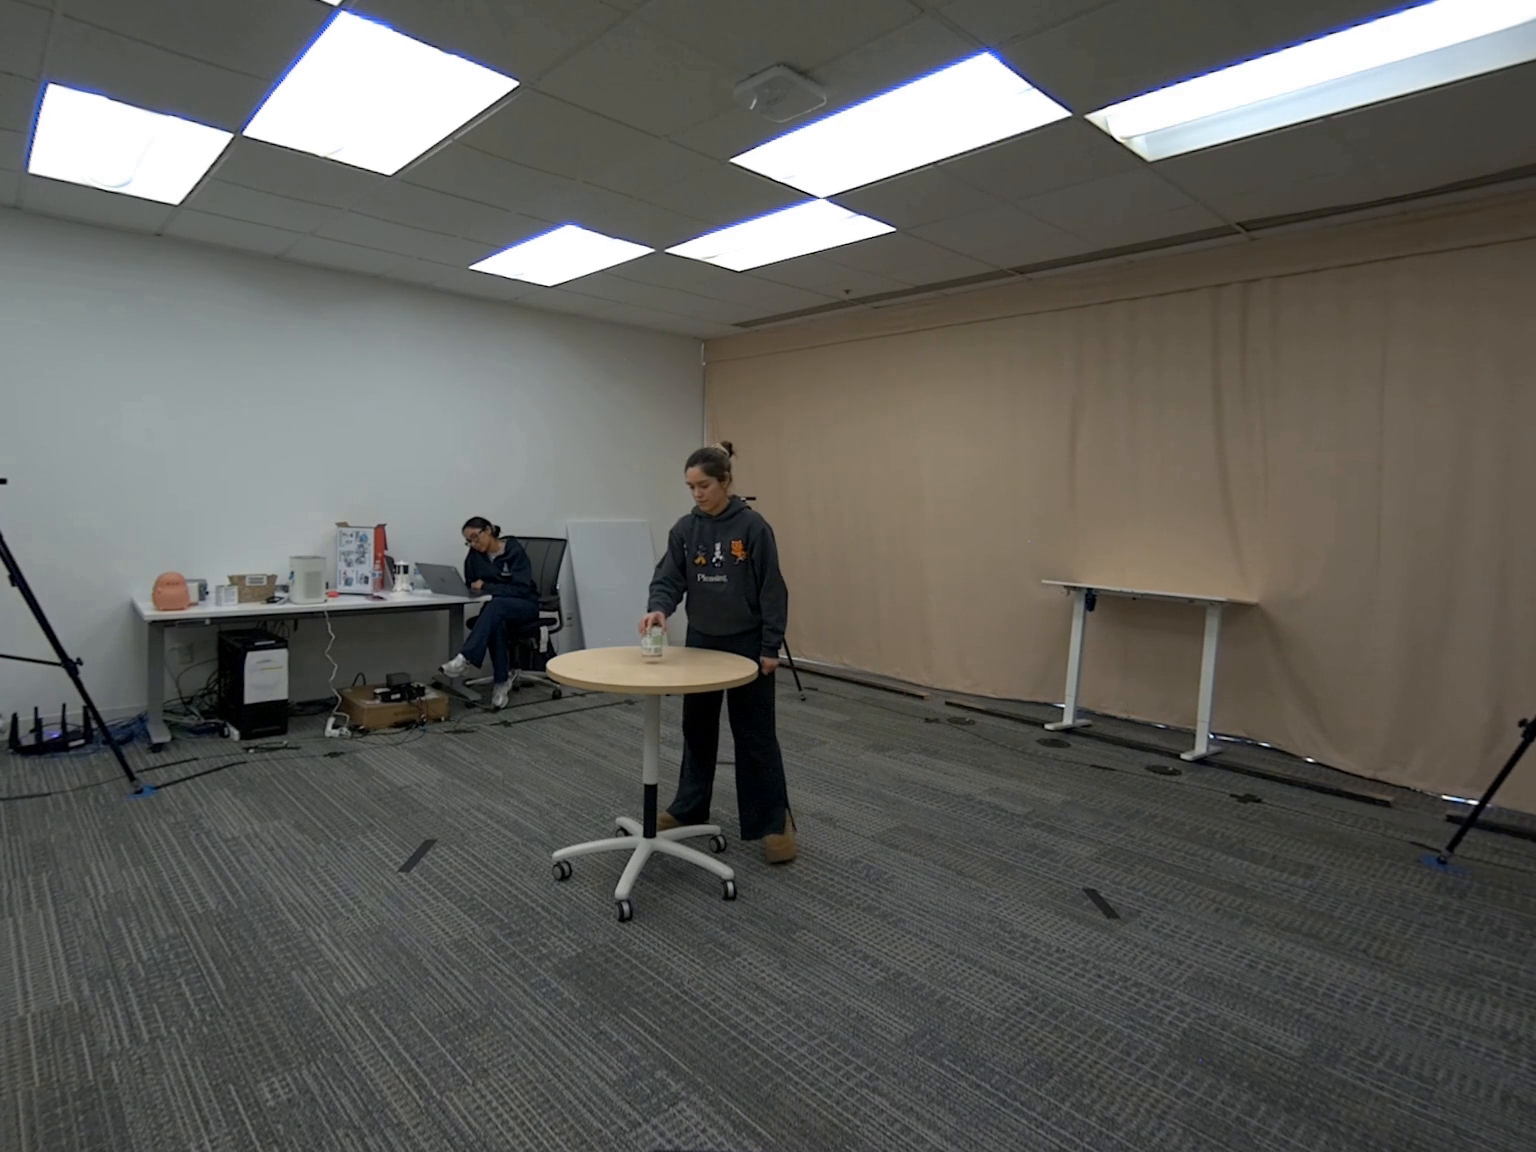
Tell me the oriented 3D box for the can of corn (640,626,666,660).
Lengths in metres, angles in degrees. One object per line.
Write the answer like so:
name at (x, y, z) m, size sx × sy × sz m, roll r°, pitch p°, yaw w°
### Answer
can of corn at (-0.435, 0.243, 3.082) m, size 0.074 × 0.111 × 0.074 m, roll 0°, pitch 3°, yaw -1°
